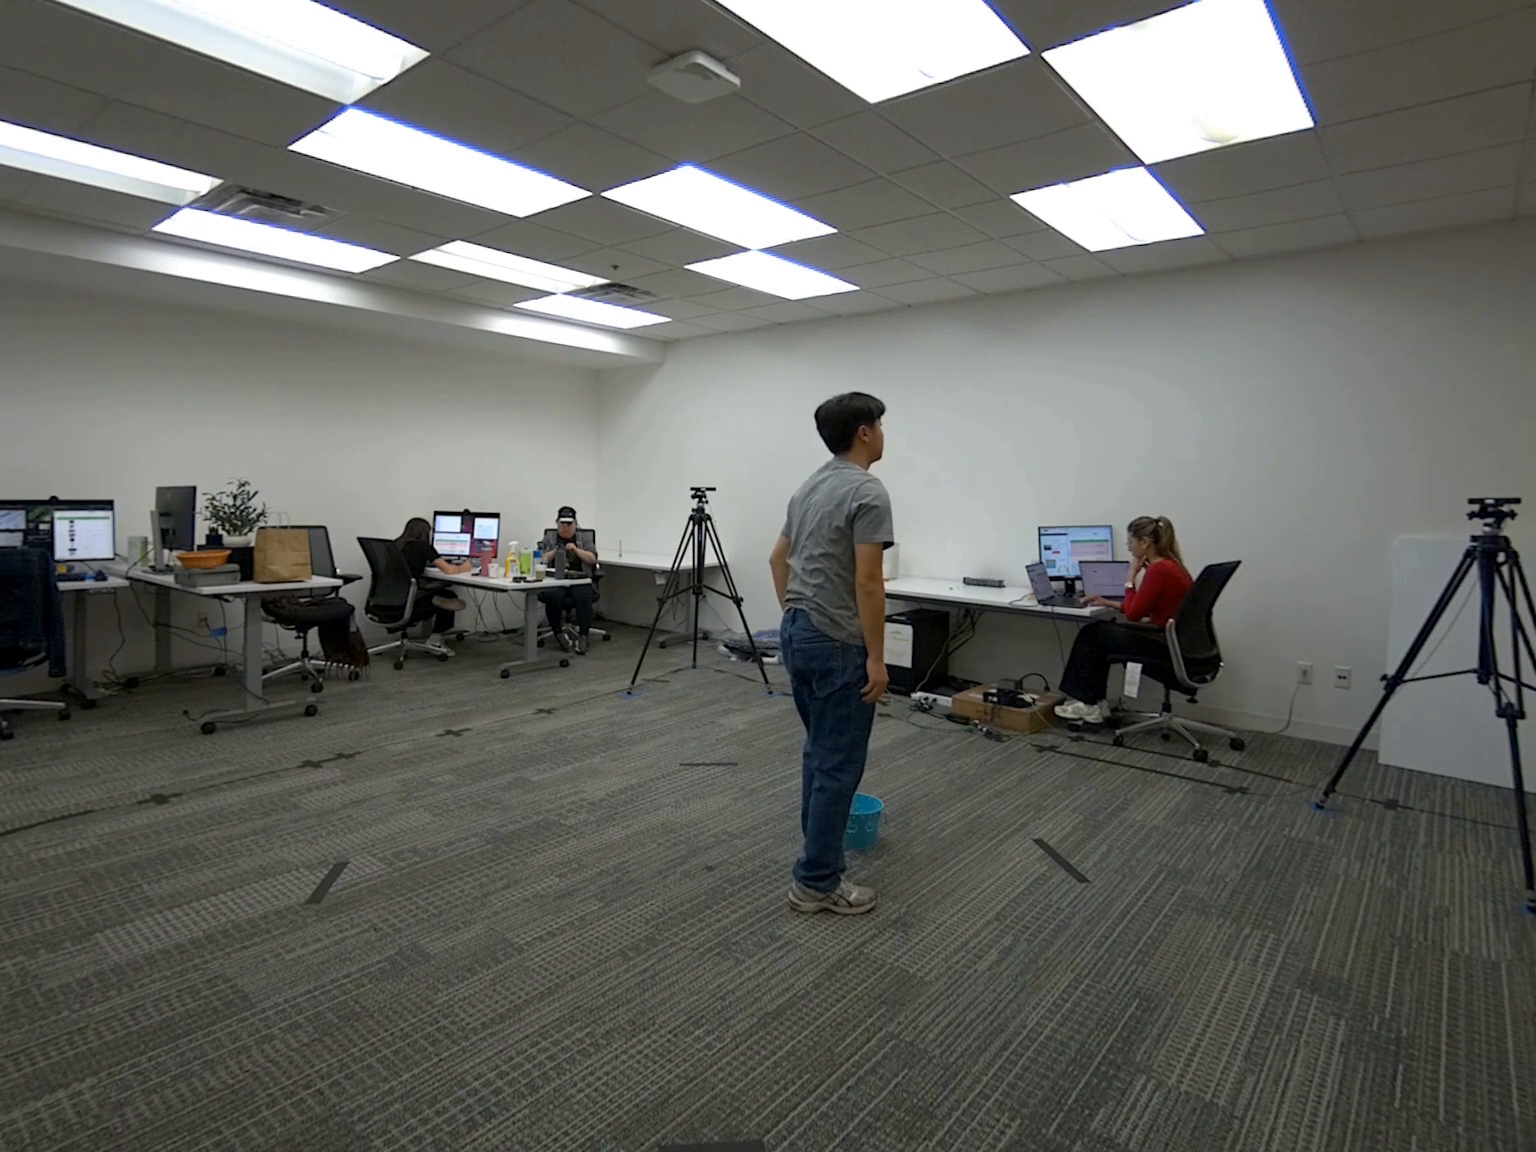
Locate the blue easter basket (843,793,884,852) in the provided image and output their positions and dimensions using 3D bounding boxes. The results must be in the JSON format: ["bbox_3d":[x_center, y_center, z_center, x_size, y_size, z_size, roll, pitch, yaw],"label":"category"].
[{"bbox_3d":[0.341,0.972,3.391,0.243,0.155,0.245,0,5,-2],"label":"blue easter basket"}]
